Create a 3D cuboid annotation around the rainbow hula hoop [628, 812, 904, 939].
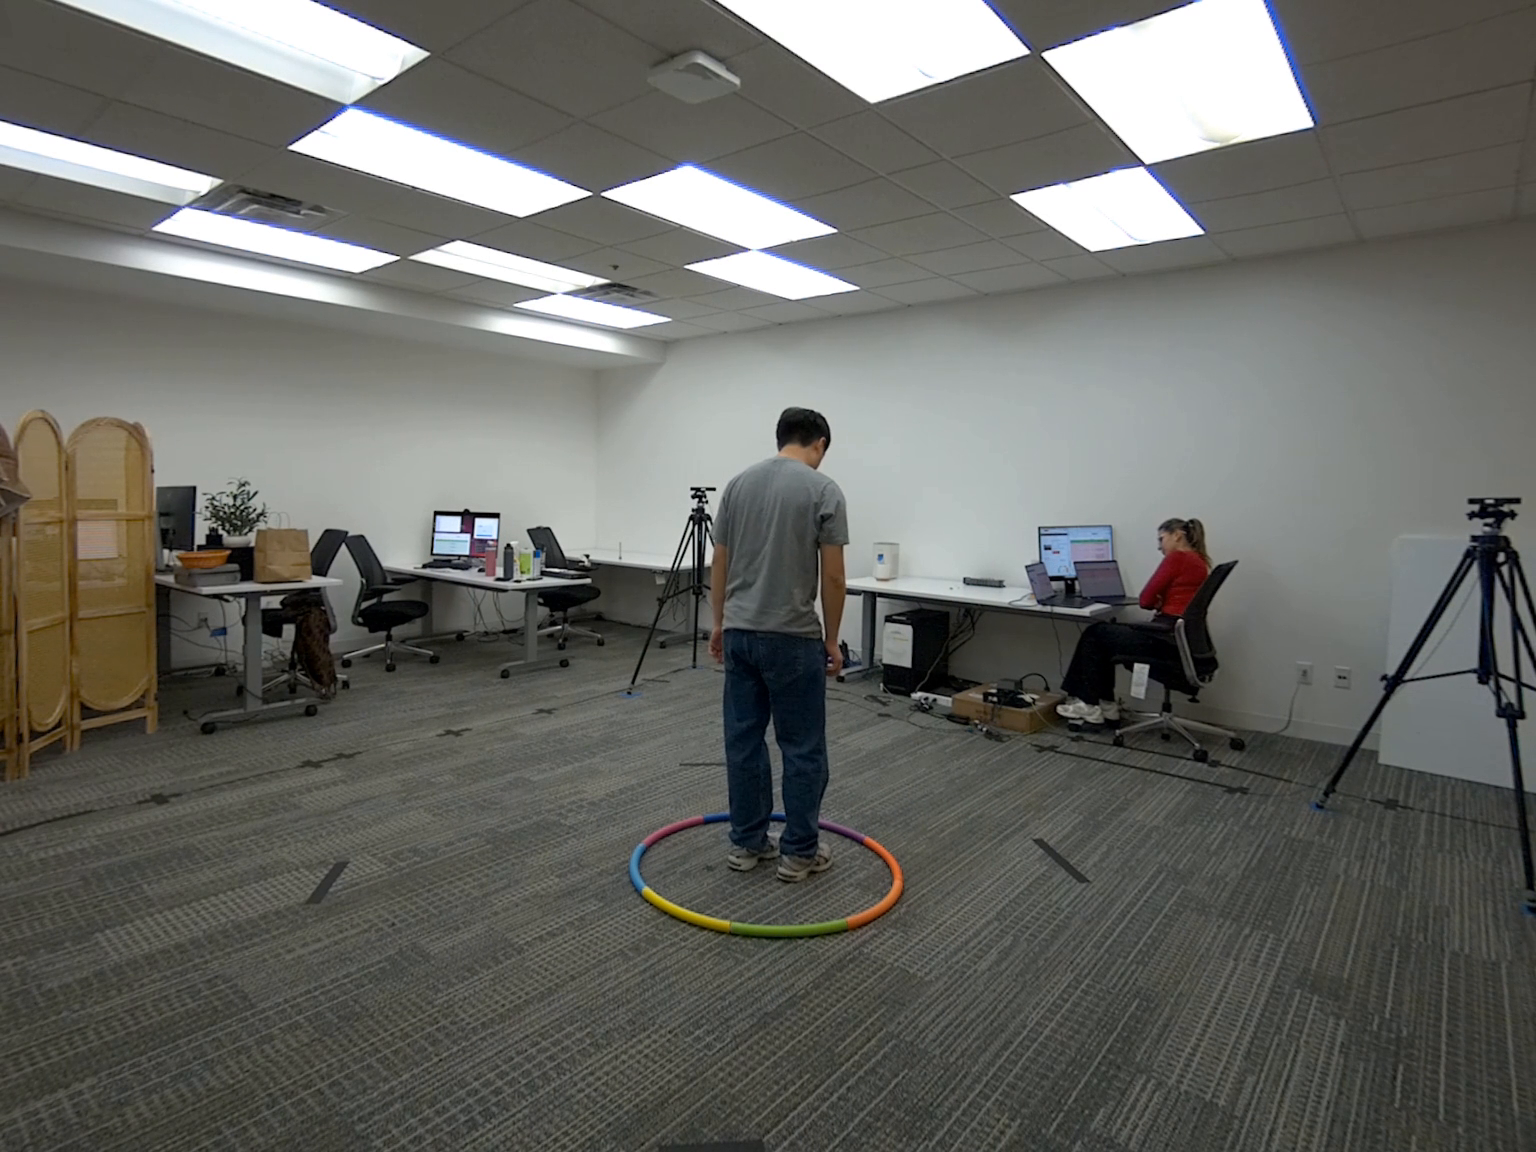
[{"bbox_3d":[-0.020,1.041,3.103,0.978,0.035,0.983,1,5,-2],"label":"rainbow hula hoop"}]
